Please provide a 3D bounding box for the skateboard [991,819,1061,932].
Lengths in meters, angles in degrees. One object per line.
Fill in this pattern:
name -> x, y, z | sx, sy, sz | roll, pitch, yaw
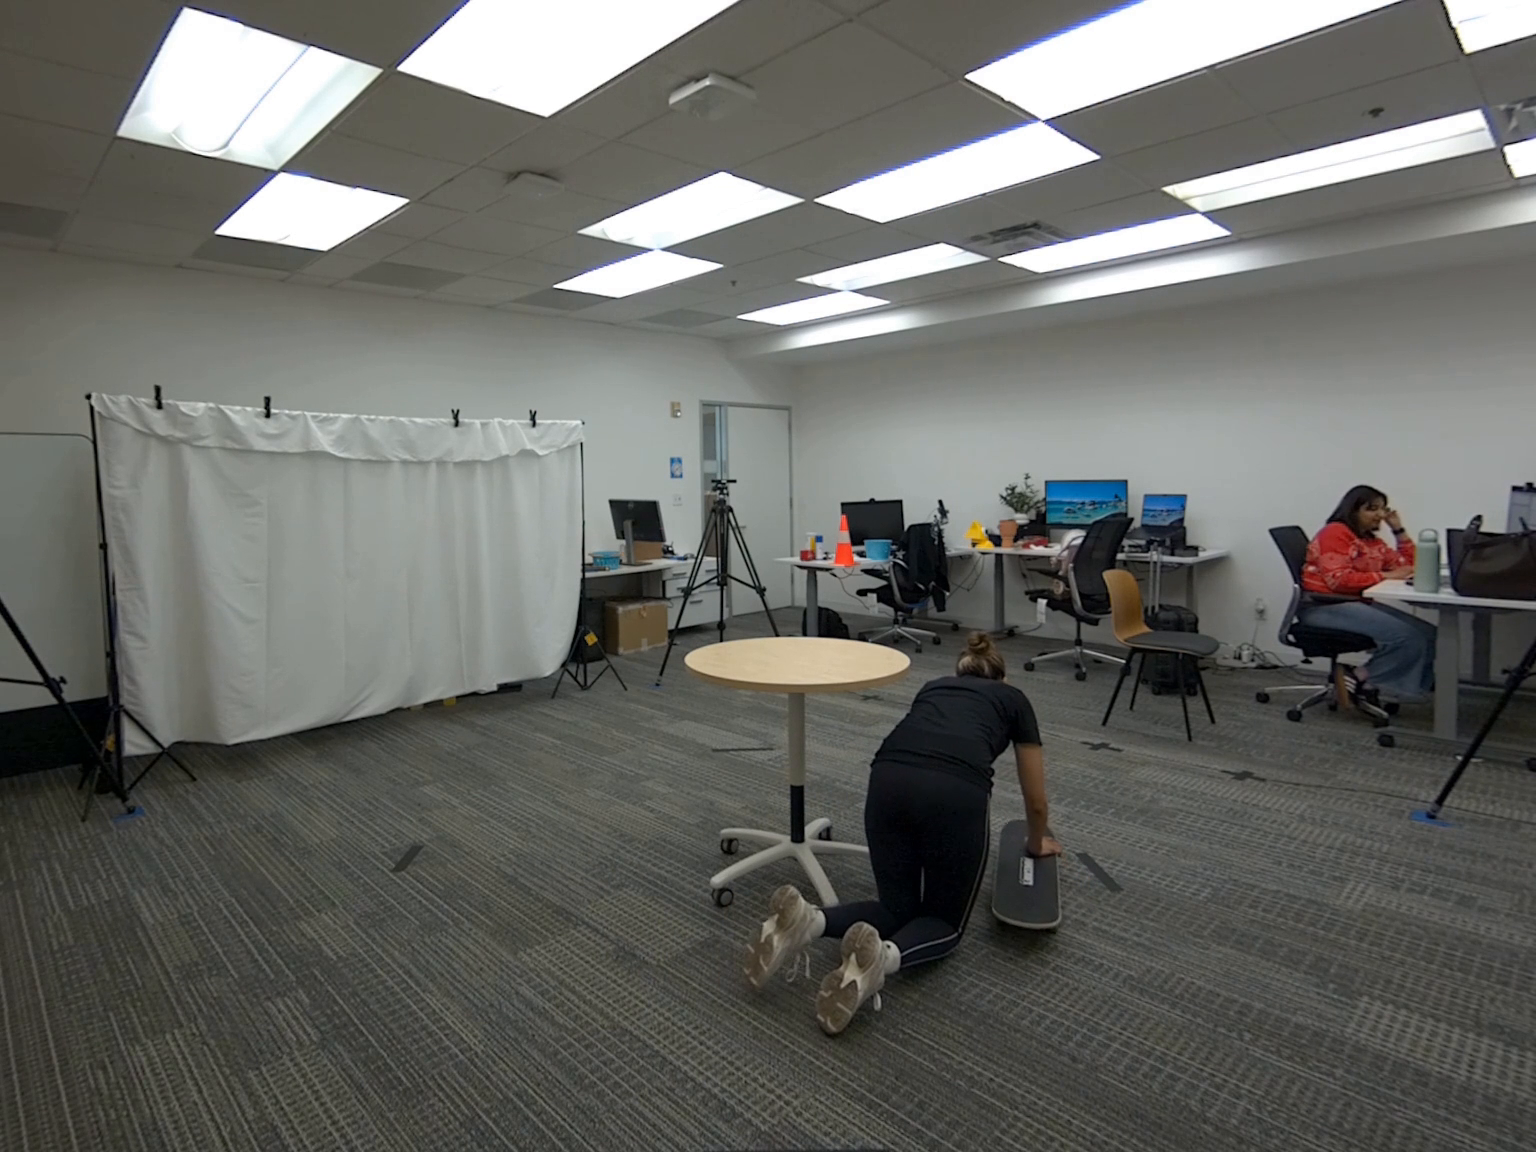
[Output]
skateboard -> 0.860, 1.005, 2.823 | 0.197, 0.110, 0.775 | 0, 7, 17
